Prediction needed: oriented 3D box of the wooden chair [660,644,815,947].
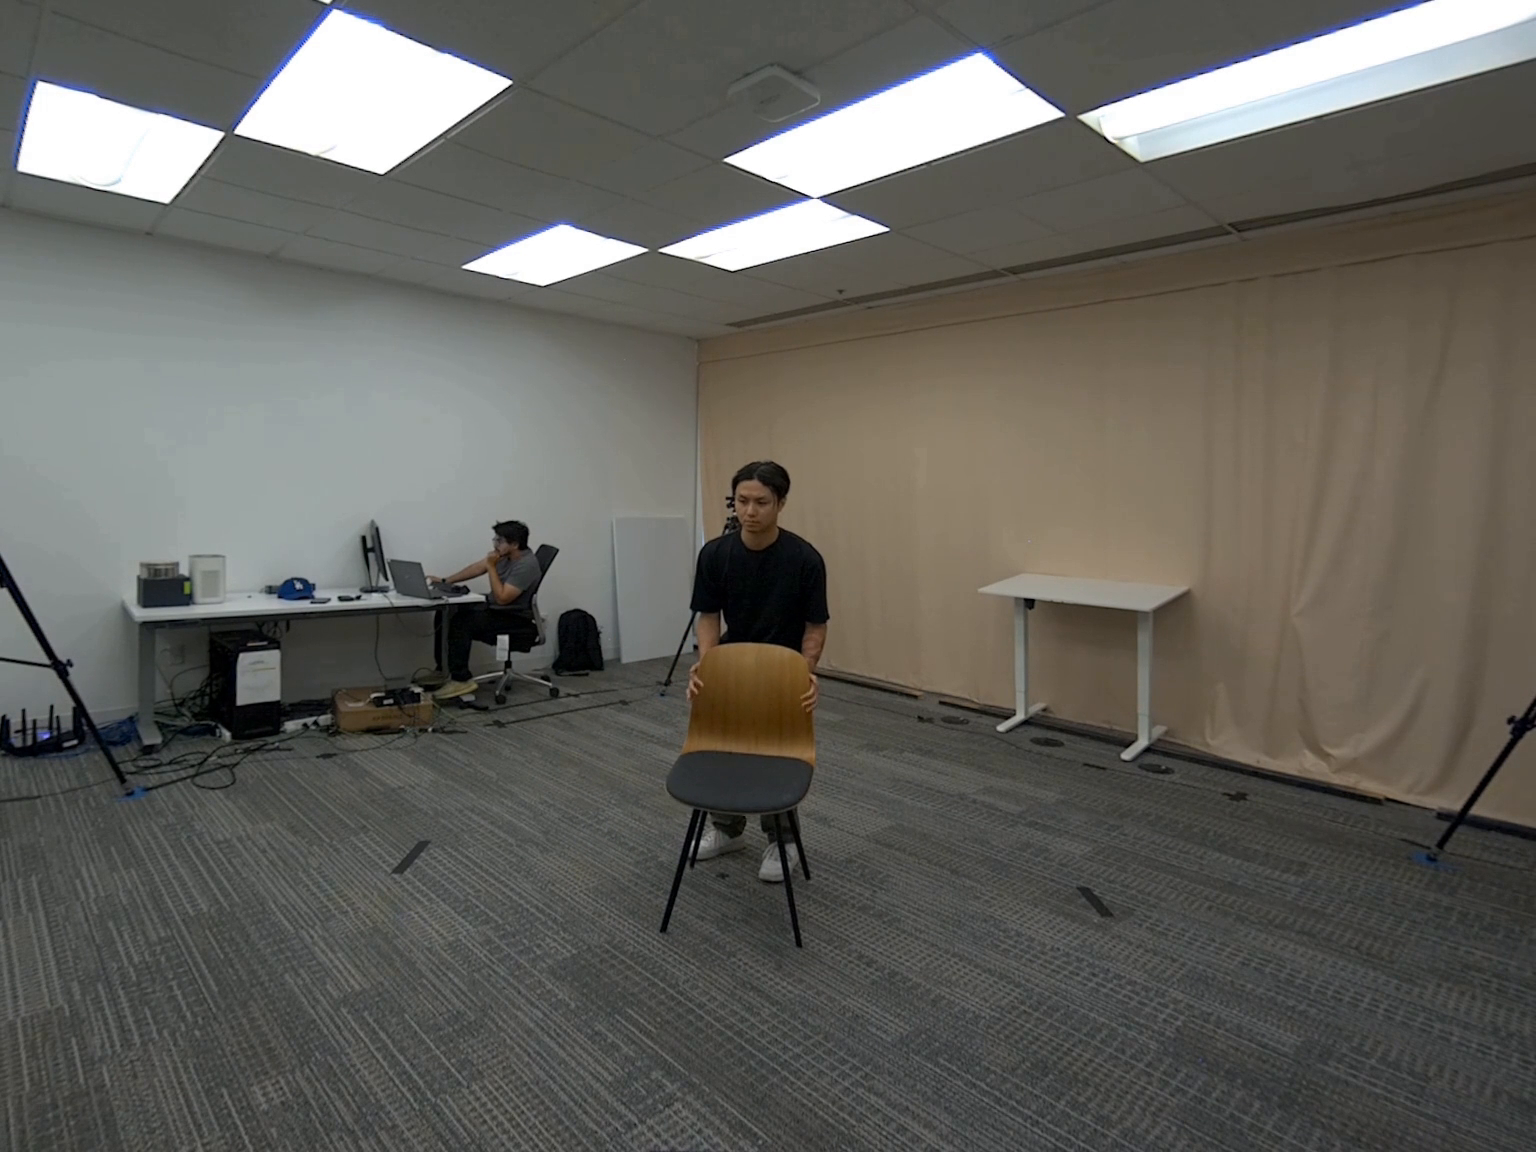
[{"bbox_3d":[-0.092,0.700,2.809,0.481,0.876,0.520,3,2,8],"label":"wooden chair"}]
